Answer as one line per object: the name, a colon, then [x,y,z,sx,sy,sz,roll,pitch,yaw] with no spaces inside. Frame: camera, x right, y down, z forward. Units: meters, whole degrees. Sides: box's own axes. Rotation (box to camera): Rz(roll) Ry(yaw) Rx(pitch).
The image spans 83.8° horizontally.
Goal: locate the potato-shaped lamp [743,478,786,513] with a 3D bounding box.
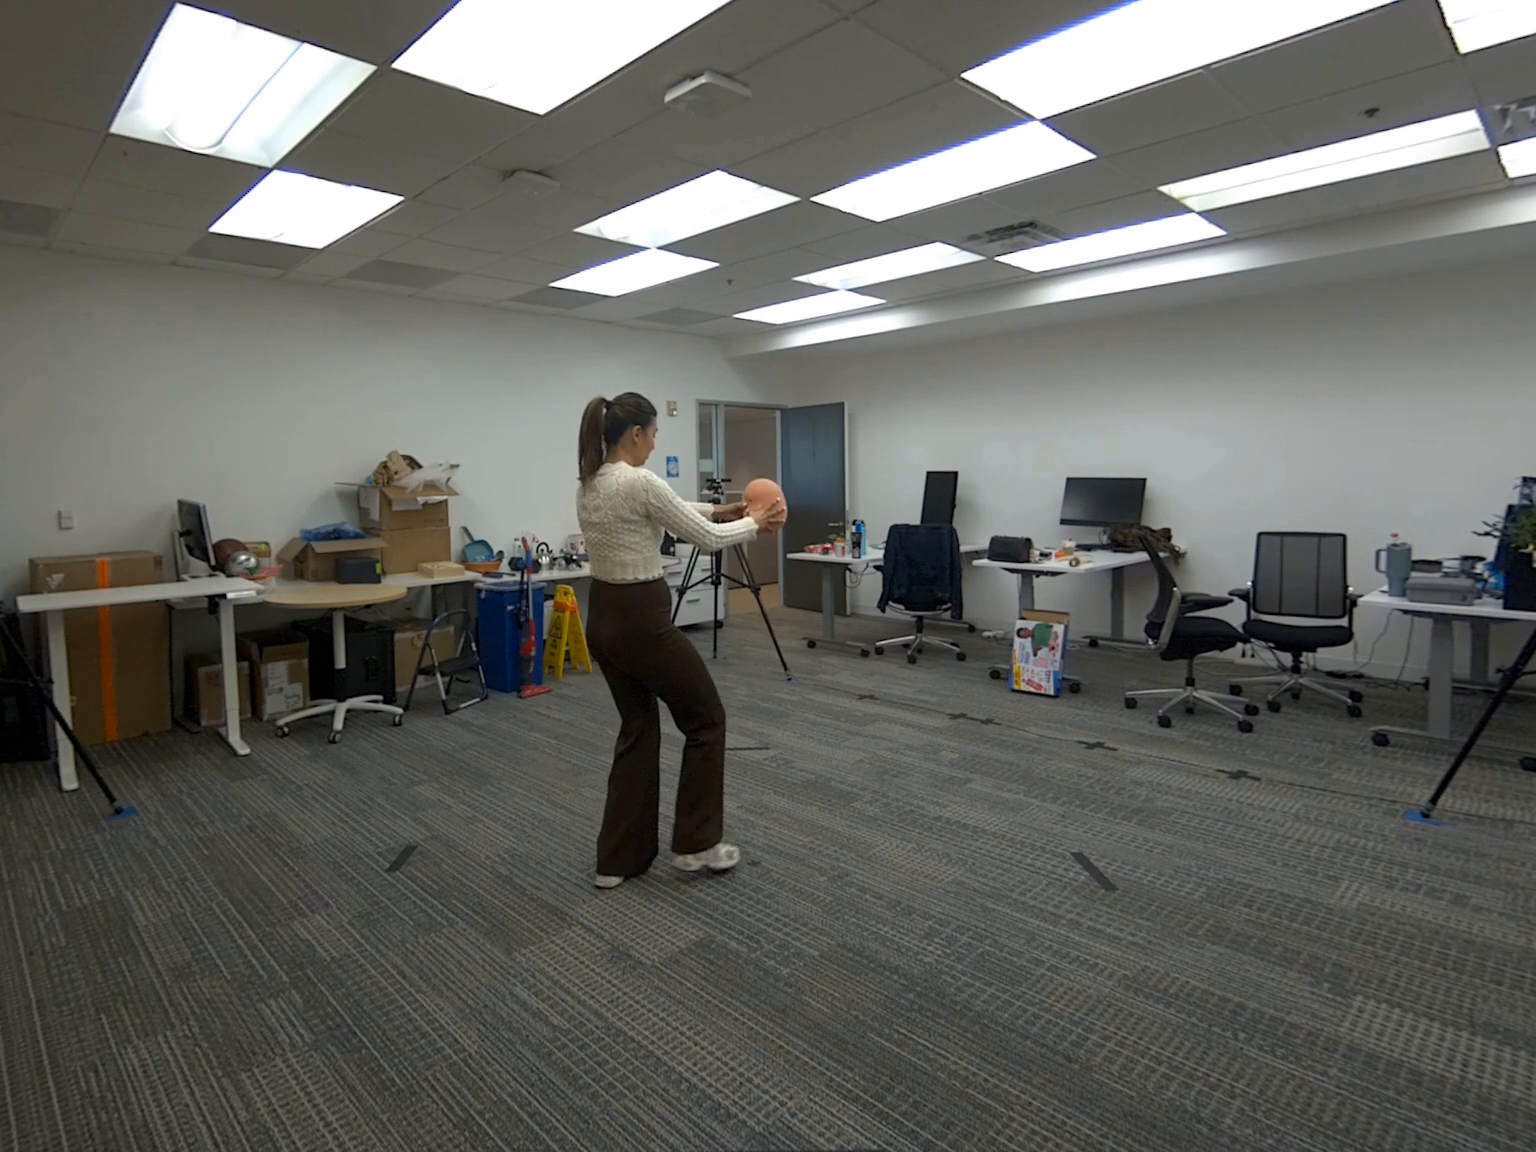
potato-shaped lamp: [-0.013,-0.268,3.233,0.163,0.197,0.173,-7,5,-9]
